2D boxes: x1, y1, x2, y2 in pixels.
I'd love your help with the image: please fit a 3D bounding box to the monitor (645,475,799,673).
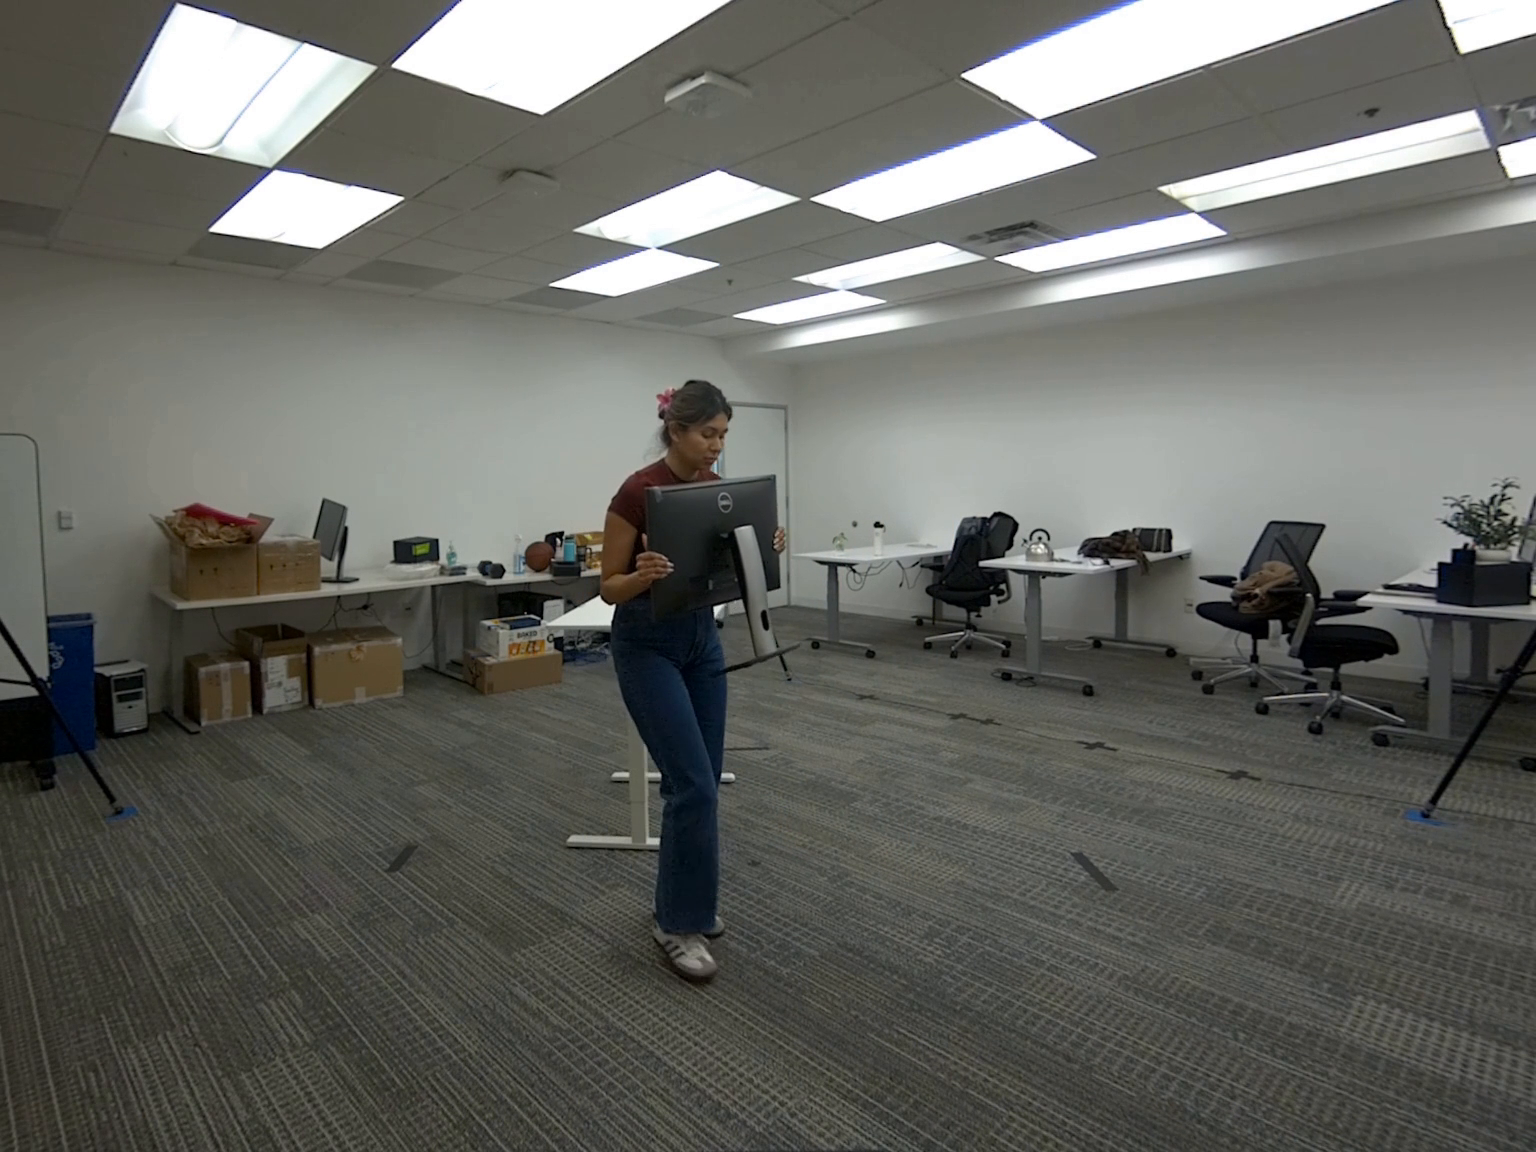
[{"bbox_3d":[-0.095,-0.006,2.380,0.191,0.524,0.527,-16,-3,39],"label":"monitor"}]
